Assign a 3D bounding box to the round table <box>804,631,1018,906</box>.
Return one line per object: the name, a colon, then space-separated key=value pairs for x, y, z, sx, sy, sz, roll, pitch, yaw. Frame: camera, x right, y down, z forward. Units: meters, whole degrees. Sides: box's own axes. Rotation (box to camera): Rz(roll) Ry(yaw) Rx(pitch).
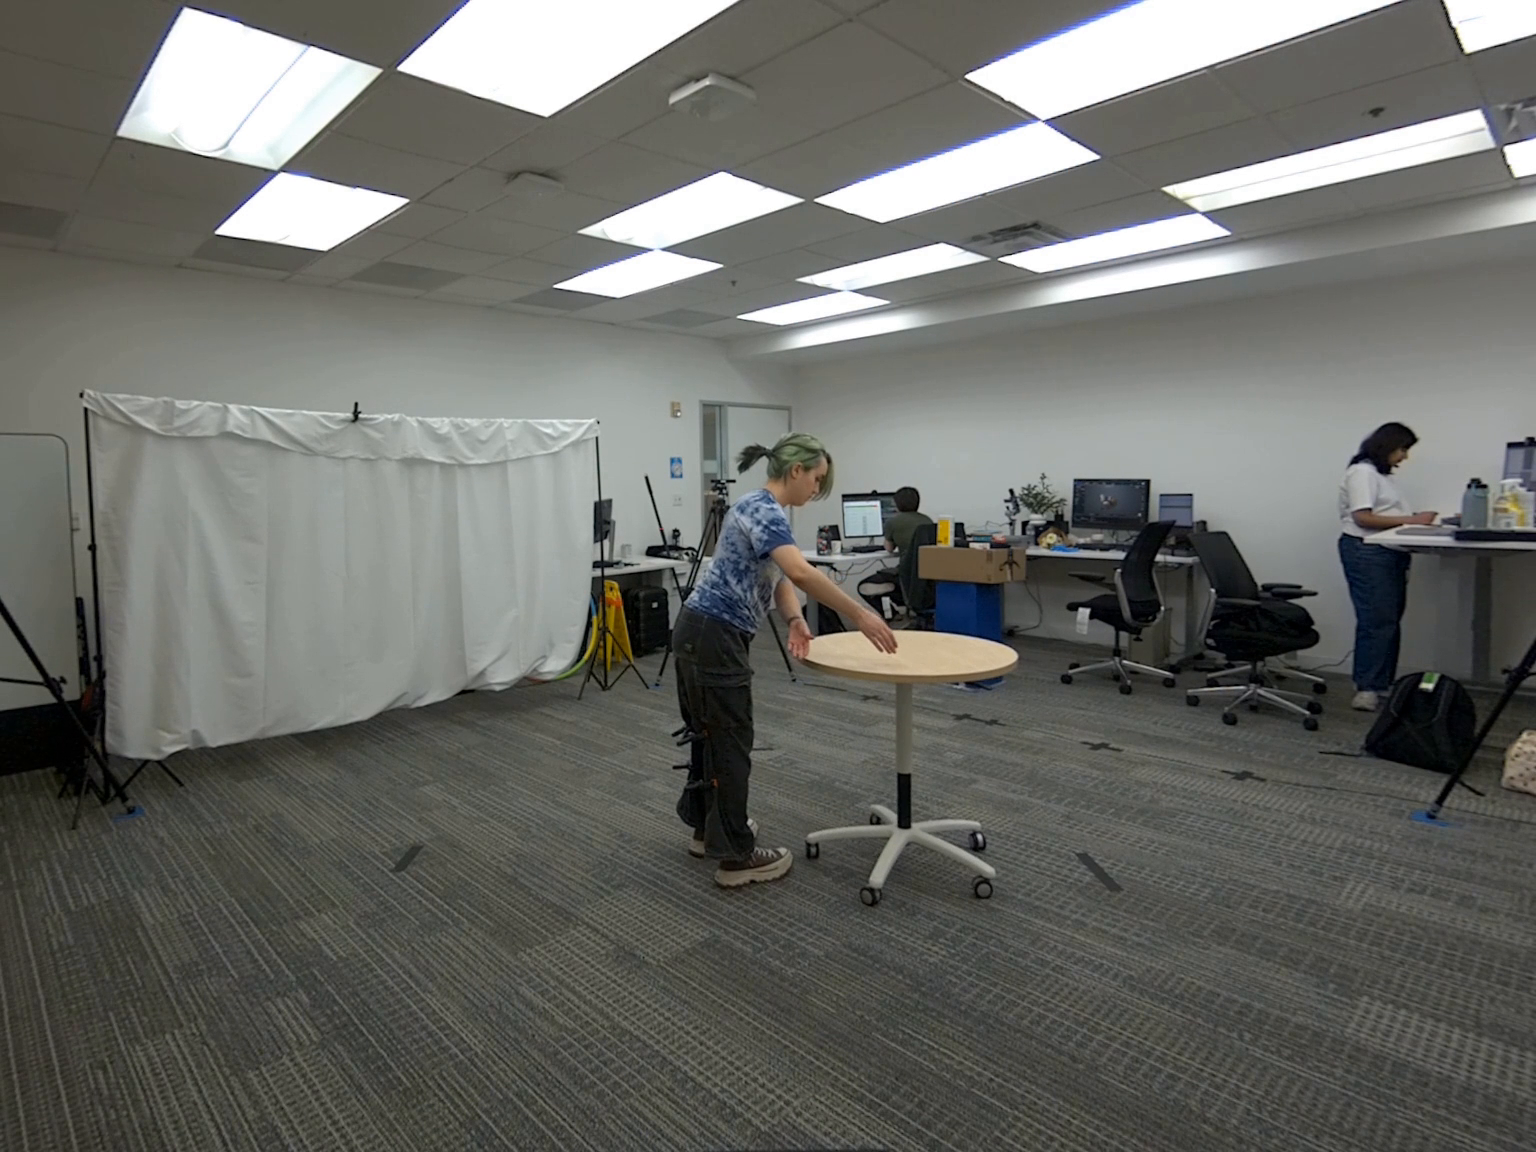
round table: x=0.490 y=0.654 z=3.055 sx=0.763 sy=0.790 sz=0.768 roll=-1 pitch=5 yaw=-2
